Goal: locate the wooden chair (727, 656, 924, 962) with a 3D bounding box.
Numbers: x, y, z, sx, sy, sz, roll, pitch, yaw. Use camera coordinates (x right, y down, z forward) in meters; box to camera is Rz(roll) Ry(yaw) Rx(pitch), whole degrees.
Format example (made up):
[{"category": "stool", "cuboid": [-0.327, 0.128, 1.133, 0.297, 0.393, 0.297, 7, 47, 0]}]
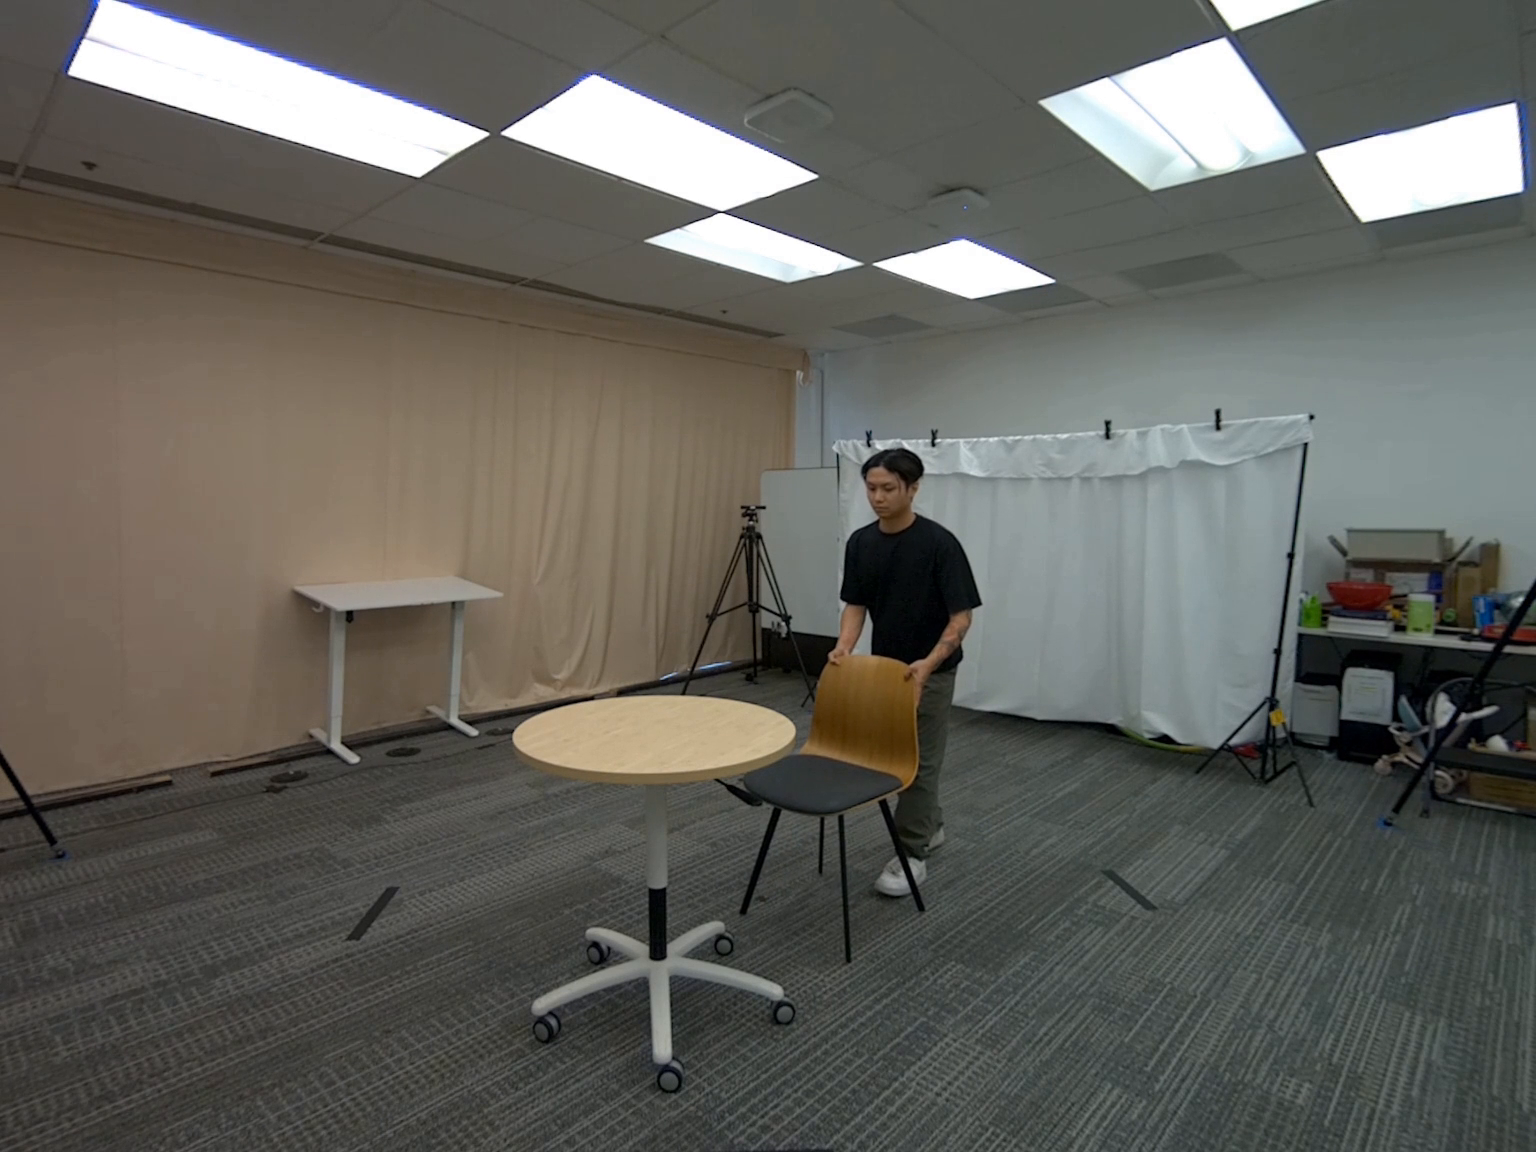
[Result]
[{"category": "wooden chair", "cuboid": [0.216, 0.726, 2.840, 0.494, 0.877, 0.506, 3, 0, 43]}]
